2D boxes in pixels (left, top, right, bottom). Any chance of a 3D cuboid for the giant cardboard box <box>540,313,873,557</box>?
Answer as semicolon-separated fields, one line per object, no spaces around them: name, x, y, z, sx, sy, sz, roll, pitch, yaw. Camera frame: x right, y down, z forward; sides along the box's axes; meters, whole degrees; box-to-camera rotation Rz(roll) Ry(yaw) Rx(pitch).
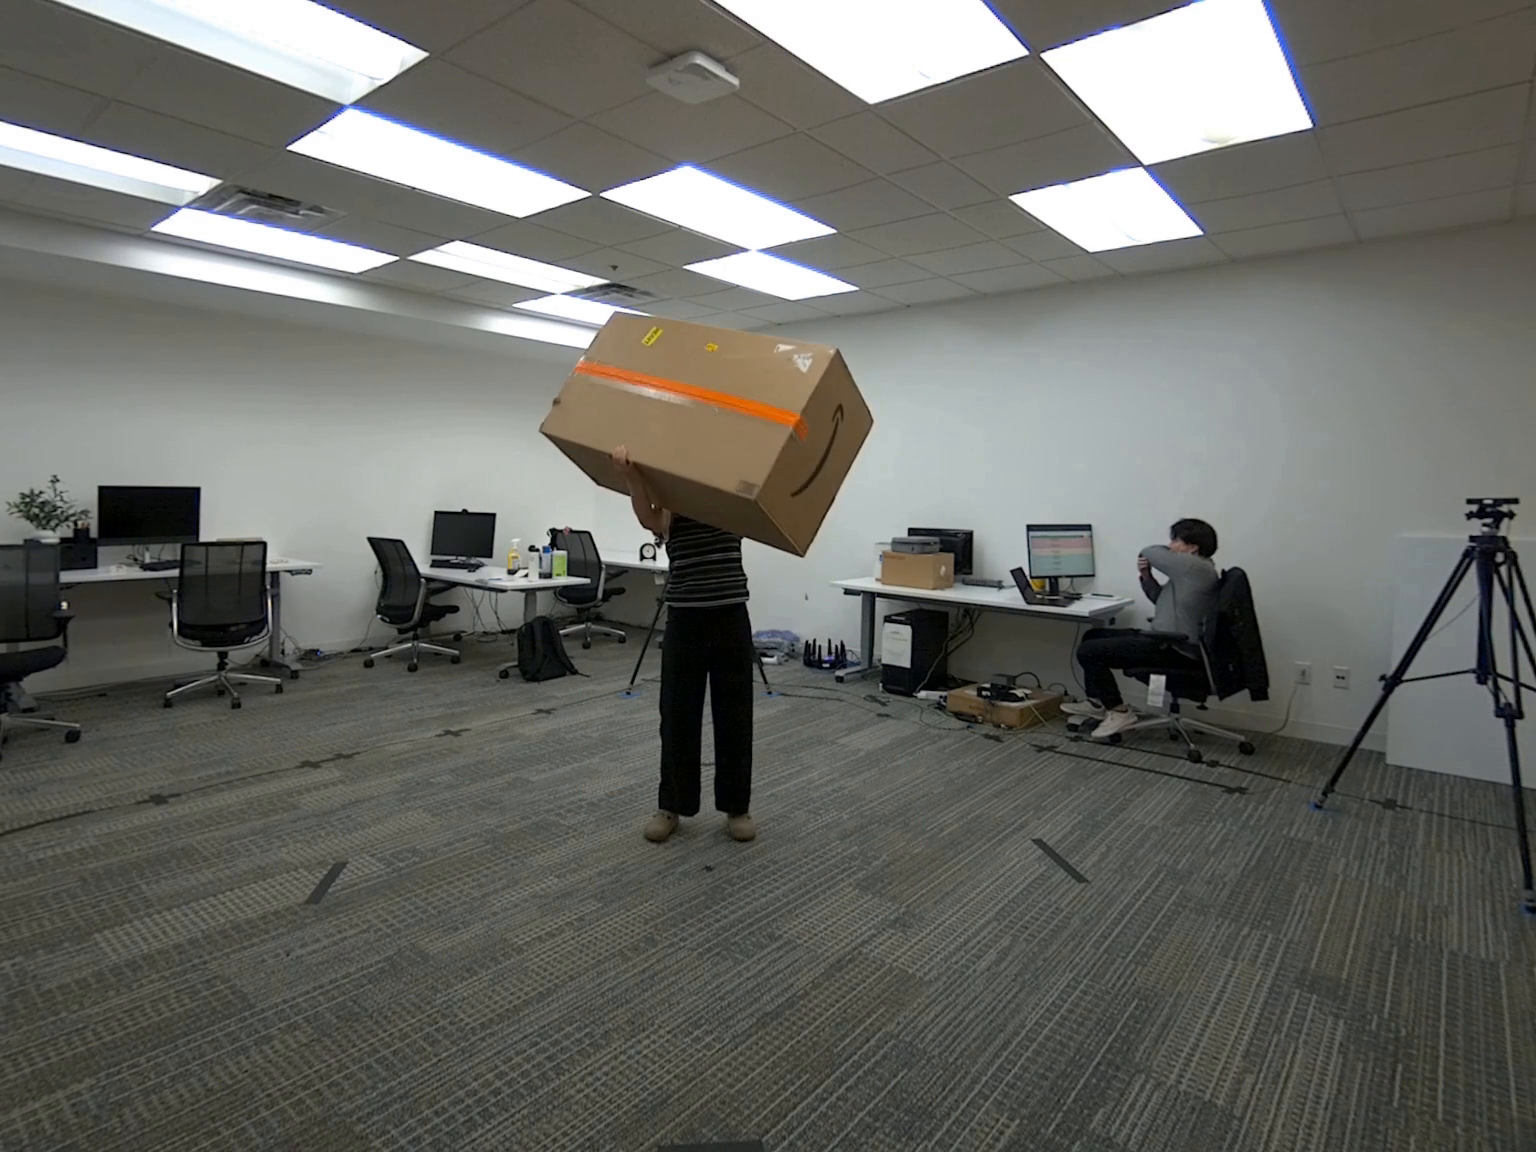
giant cardboard box;-0.246;-0.536;3.089;1.064;0.580;0.409;20;-16;33
